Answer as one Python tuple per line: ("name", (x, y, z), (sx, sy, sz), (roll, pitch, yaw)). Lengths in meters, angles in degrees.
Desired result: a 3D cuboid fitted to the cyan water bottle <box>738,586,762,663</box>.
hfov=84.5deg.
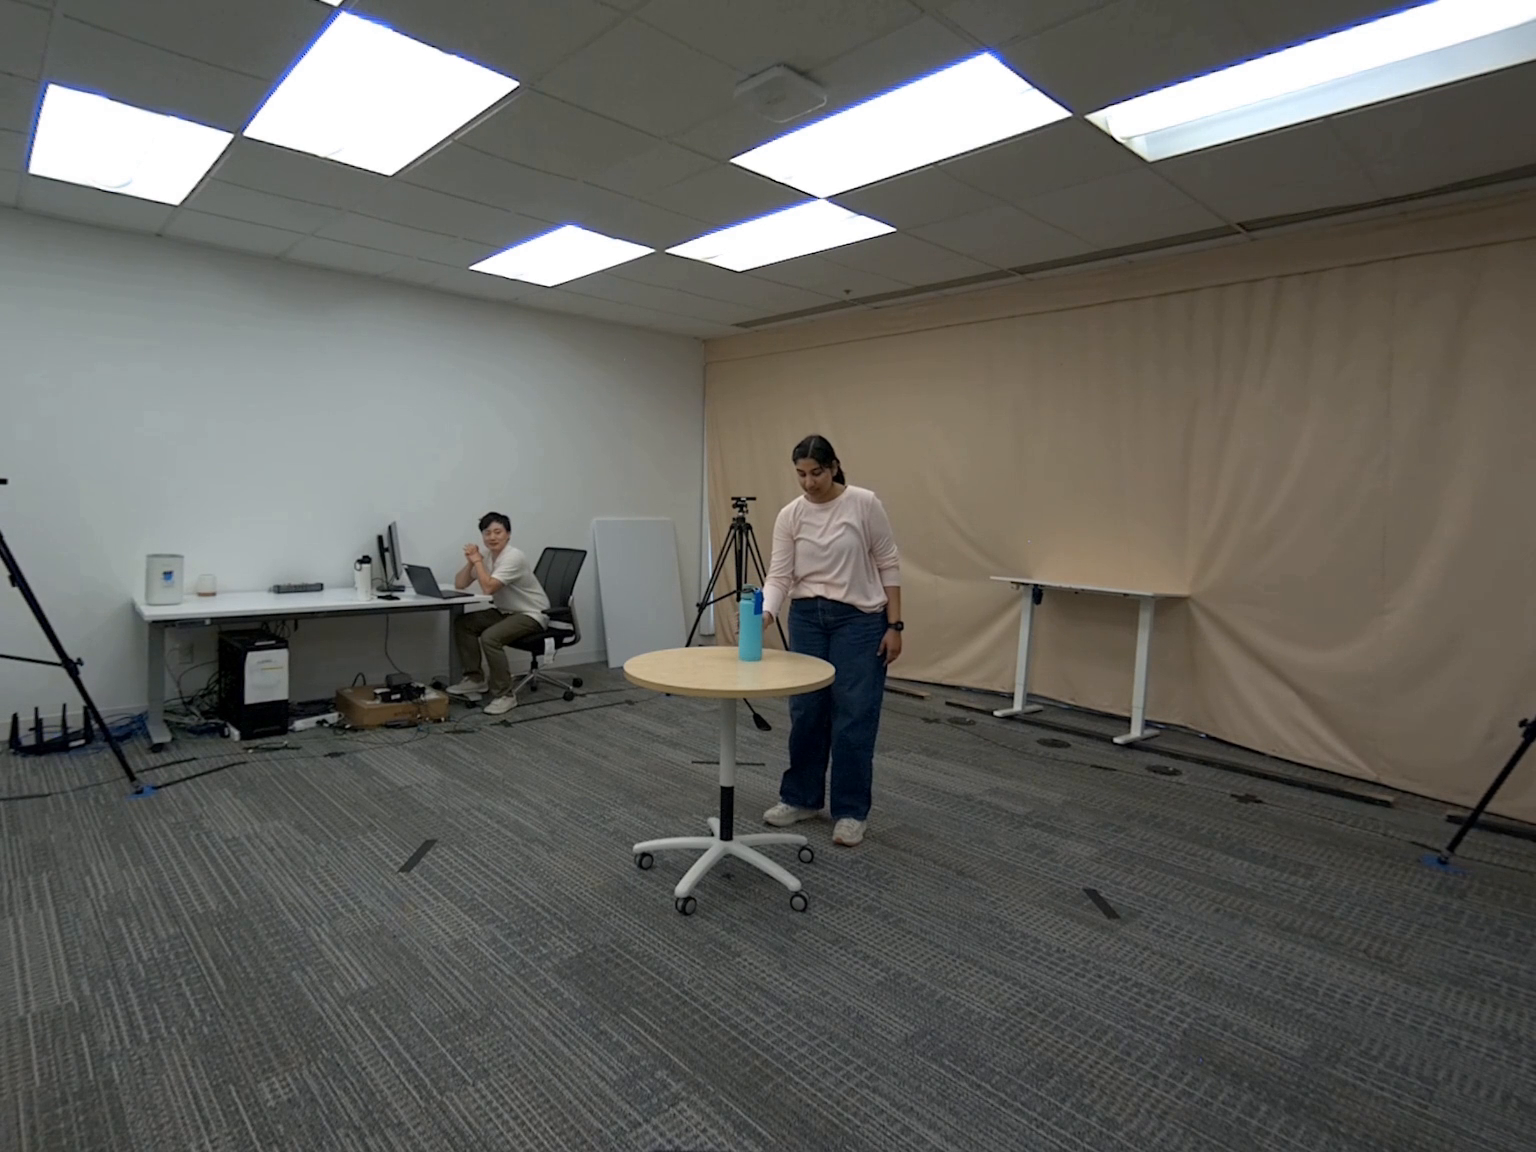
("cyan water bottle", (-0.072, 0.178, 3.177), (0.092, 0.282, 0.093), (1, 7, -2))
